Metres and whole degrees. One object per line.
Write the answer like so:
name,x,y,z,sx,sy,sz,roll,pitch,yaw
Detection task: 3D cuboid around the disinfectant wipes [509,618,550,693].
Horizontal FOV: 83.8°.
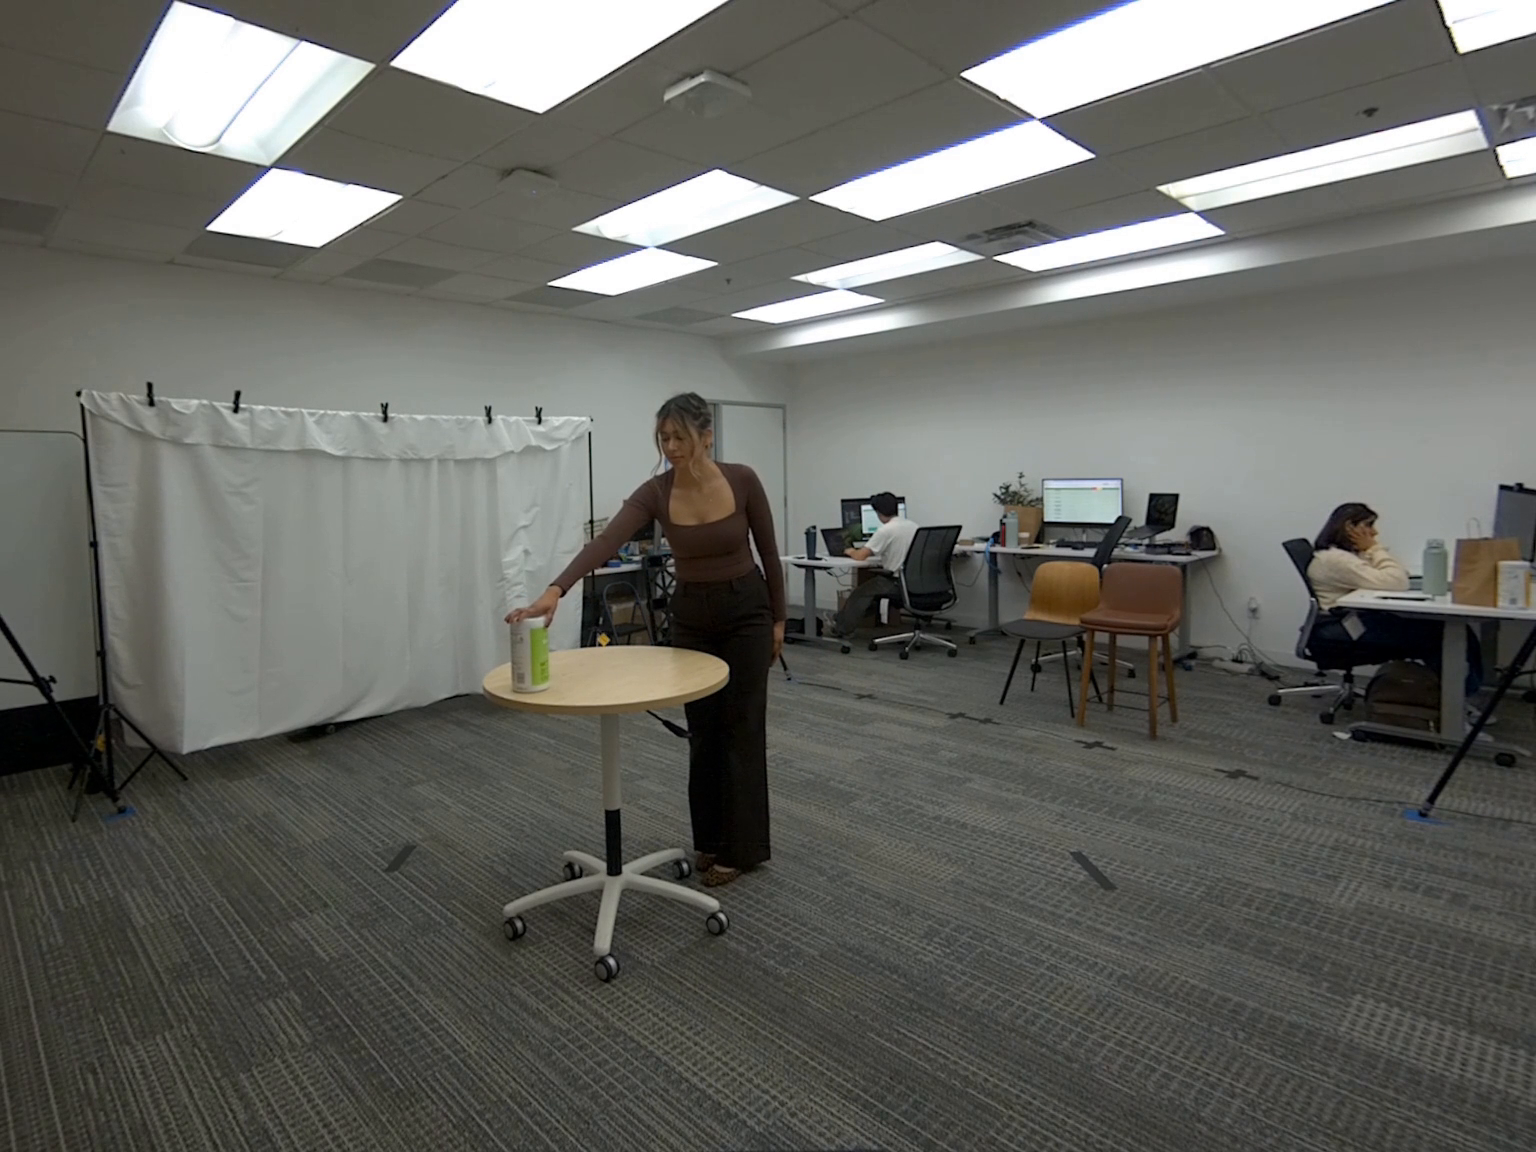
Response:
disinfectant wipes,-0.693,0.226,2.494,0.118,0.217,0.118,0,3,-2
